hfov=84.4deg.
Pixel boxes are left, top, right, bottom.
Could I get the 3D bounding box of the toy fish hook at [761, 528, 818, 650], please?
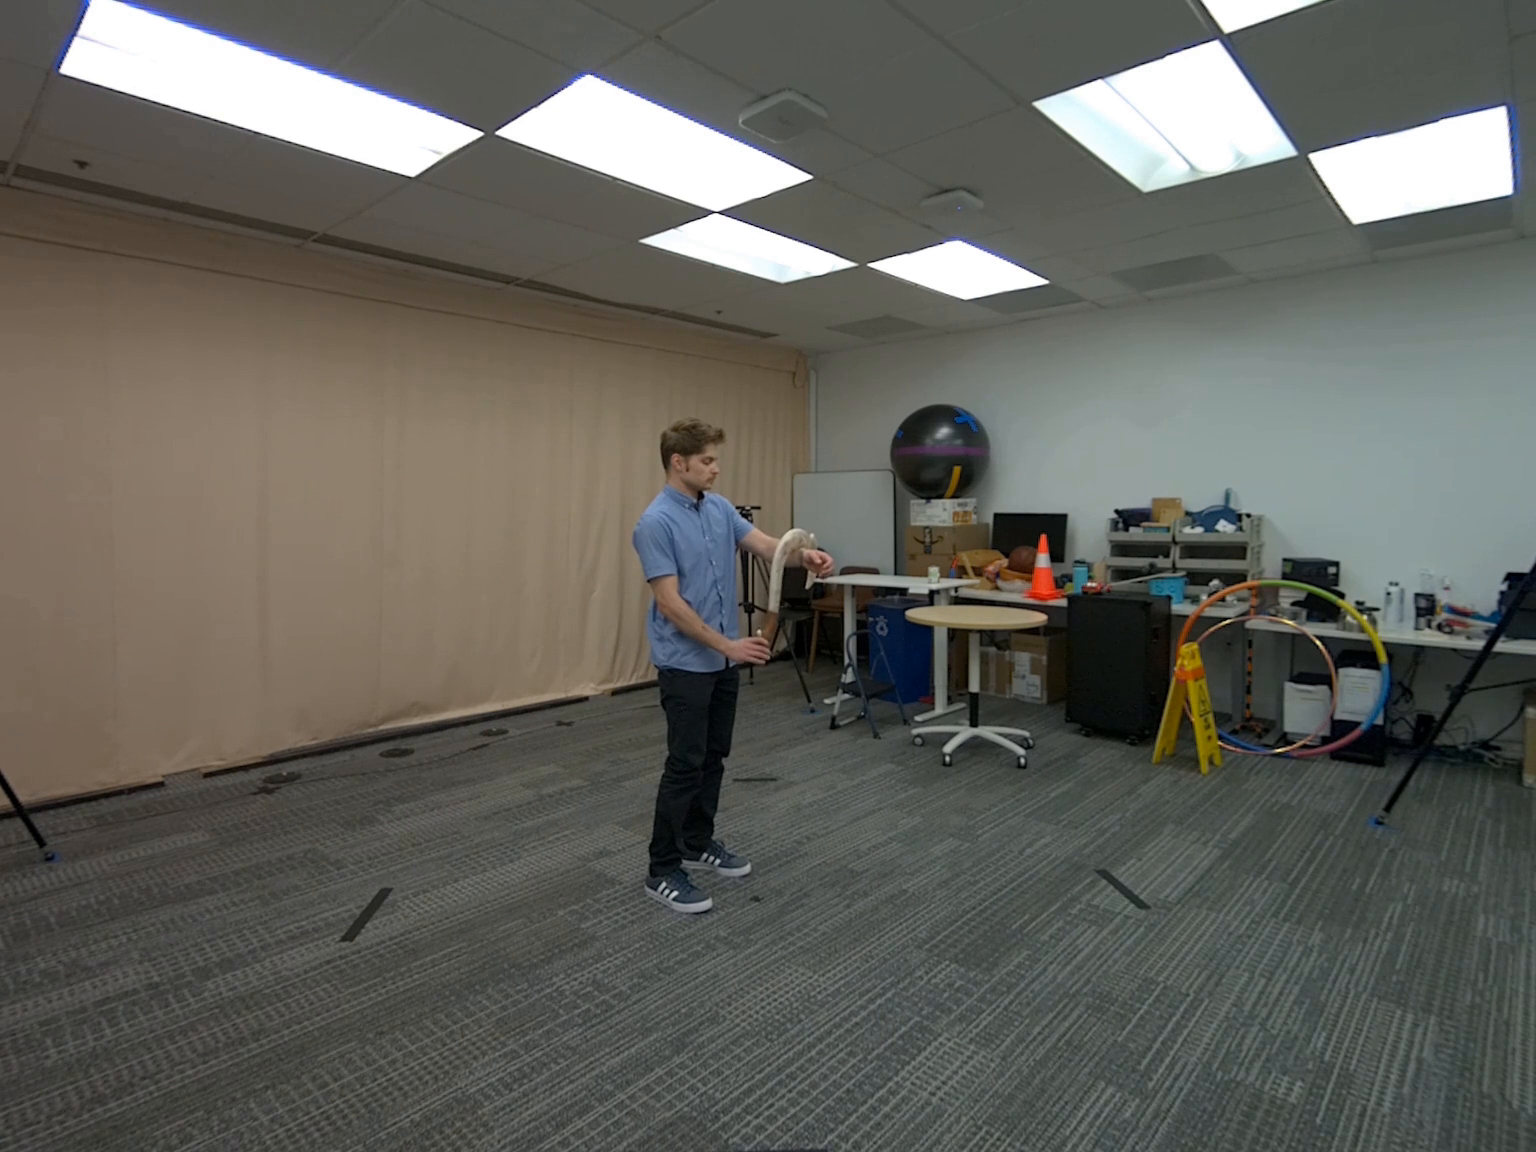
[{"bbox_3d":[0.074,0.086,3.015,0.217,0.506,0.050,16,0,-34],"label":"toy fish hook"}]
